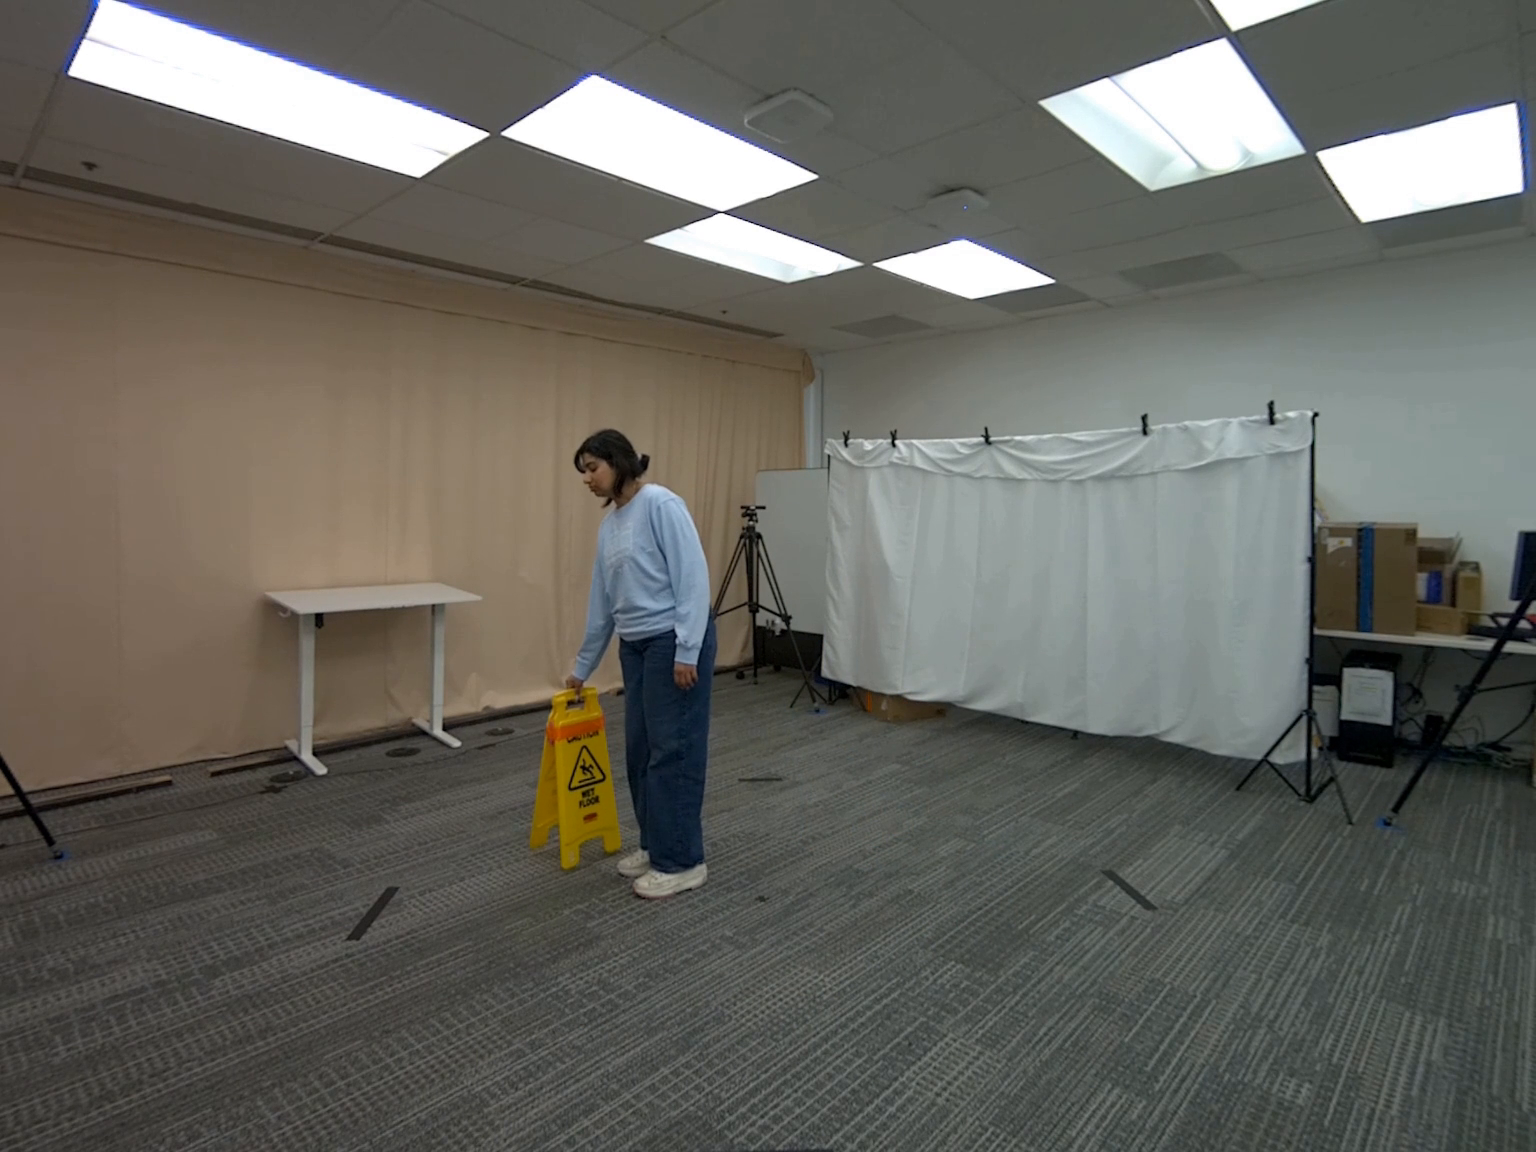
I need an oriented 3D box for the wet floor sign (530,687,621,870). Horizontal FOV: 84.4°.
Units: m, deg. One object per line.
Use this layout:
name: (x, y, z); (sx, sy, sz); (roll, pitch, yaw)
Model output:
wet floor sign: (-0.767, 0.774, 3.346); (0.299, 0.644, 0.273); (6, 7, 43)
